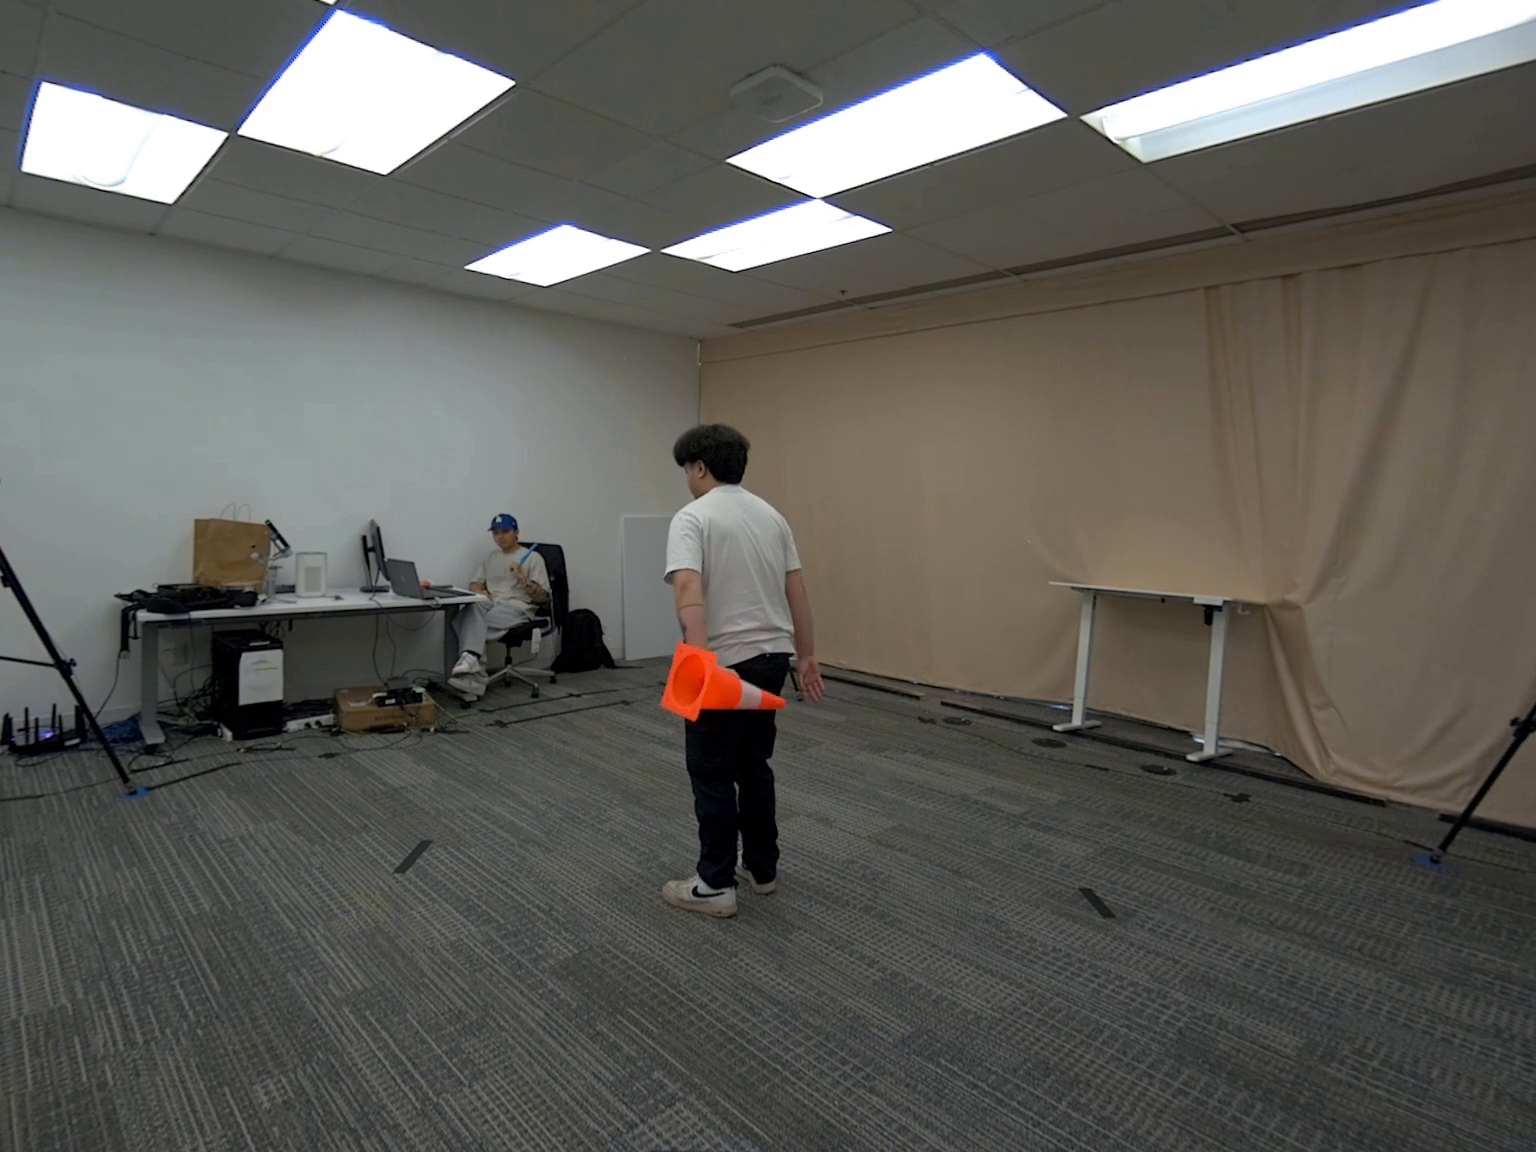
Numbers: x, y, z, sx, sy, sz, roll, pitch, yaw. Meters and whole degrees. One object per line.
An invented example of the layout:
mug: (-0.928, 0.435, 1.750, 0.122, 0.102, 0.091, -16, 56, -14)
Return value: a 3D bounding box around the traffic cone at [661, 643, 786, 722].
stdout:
traffic cone: (-0.103, 0.362, 2.554, 0.373, 0.204, 0.210, 19, -7, -37)
